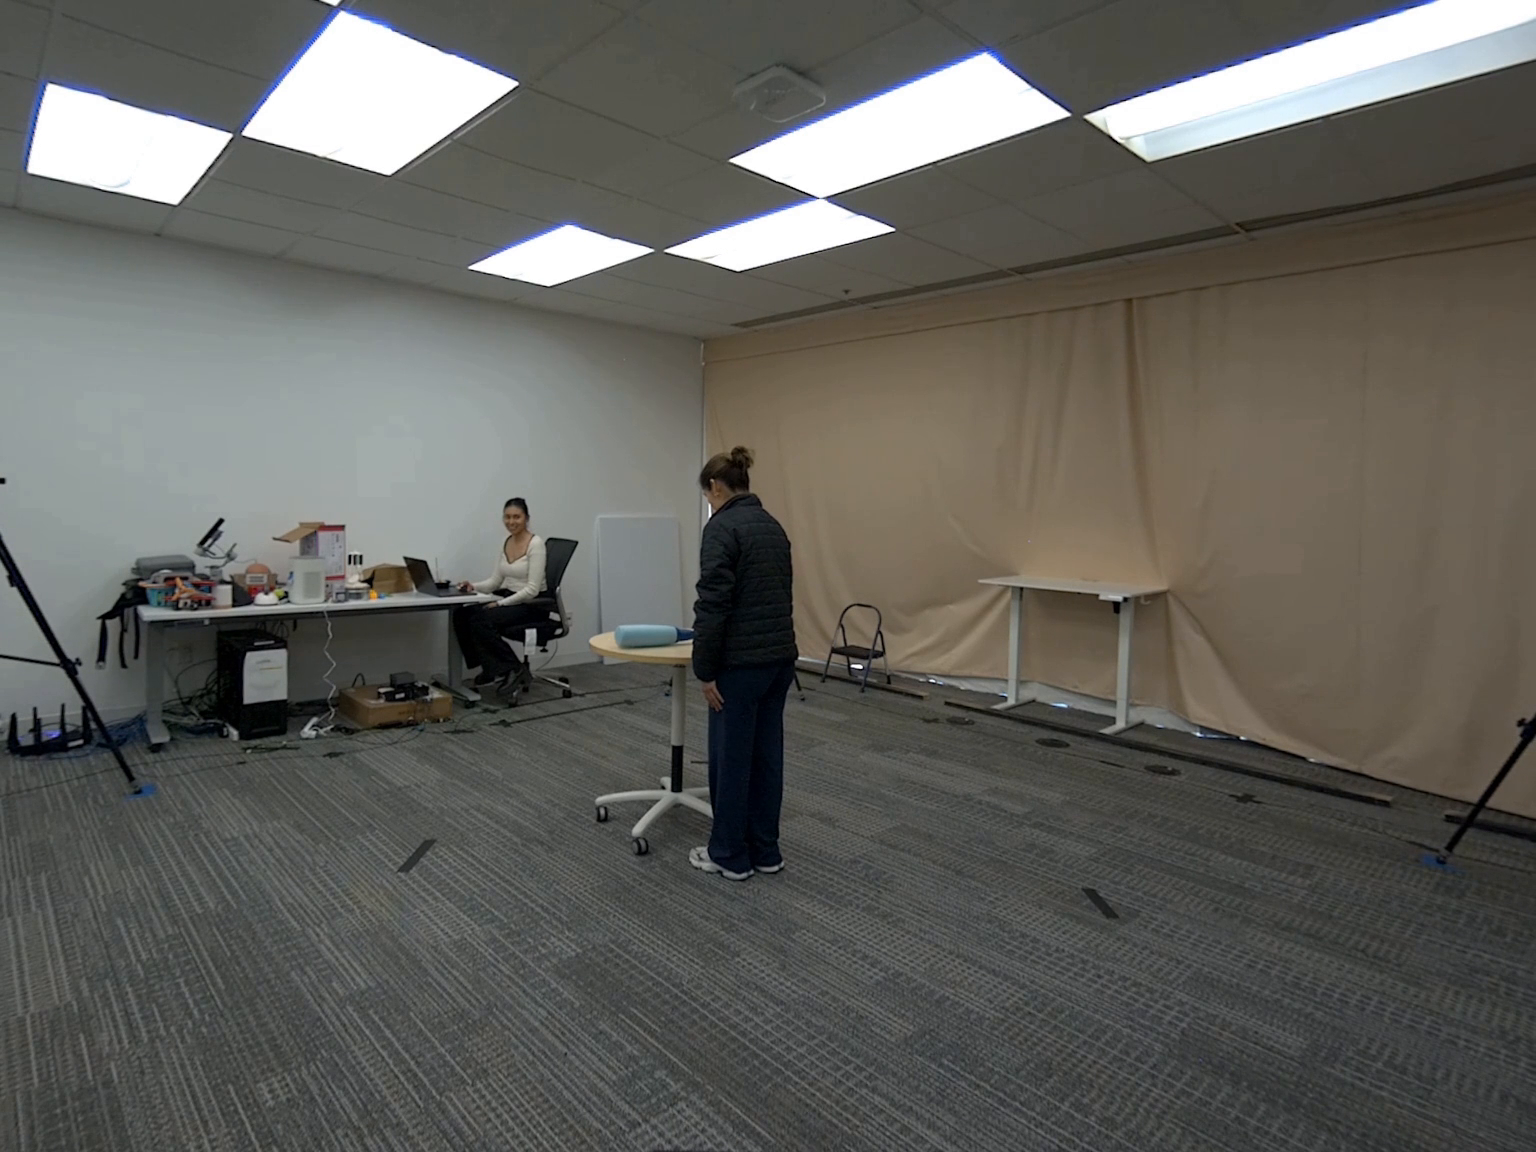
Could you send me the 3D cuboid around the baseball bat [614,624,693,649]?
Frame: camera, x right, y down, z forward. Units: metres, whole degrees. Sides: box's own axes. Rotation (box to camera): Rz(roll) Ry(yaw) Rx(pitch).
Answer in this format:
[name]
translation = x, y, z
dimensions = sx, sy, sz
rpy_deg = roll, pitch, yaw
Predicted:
[baseball bat]
translation = -0.376, 0.251, 3.463
dimensions = 0.531, 0.089, 0.091
rpy_deg = 3, 3, -33
